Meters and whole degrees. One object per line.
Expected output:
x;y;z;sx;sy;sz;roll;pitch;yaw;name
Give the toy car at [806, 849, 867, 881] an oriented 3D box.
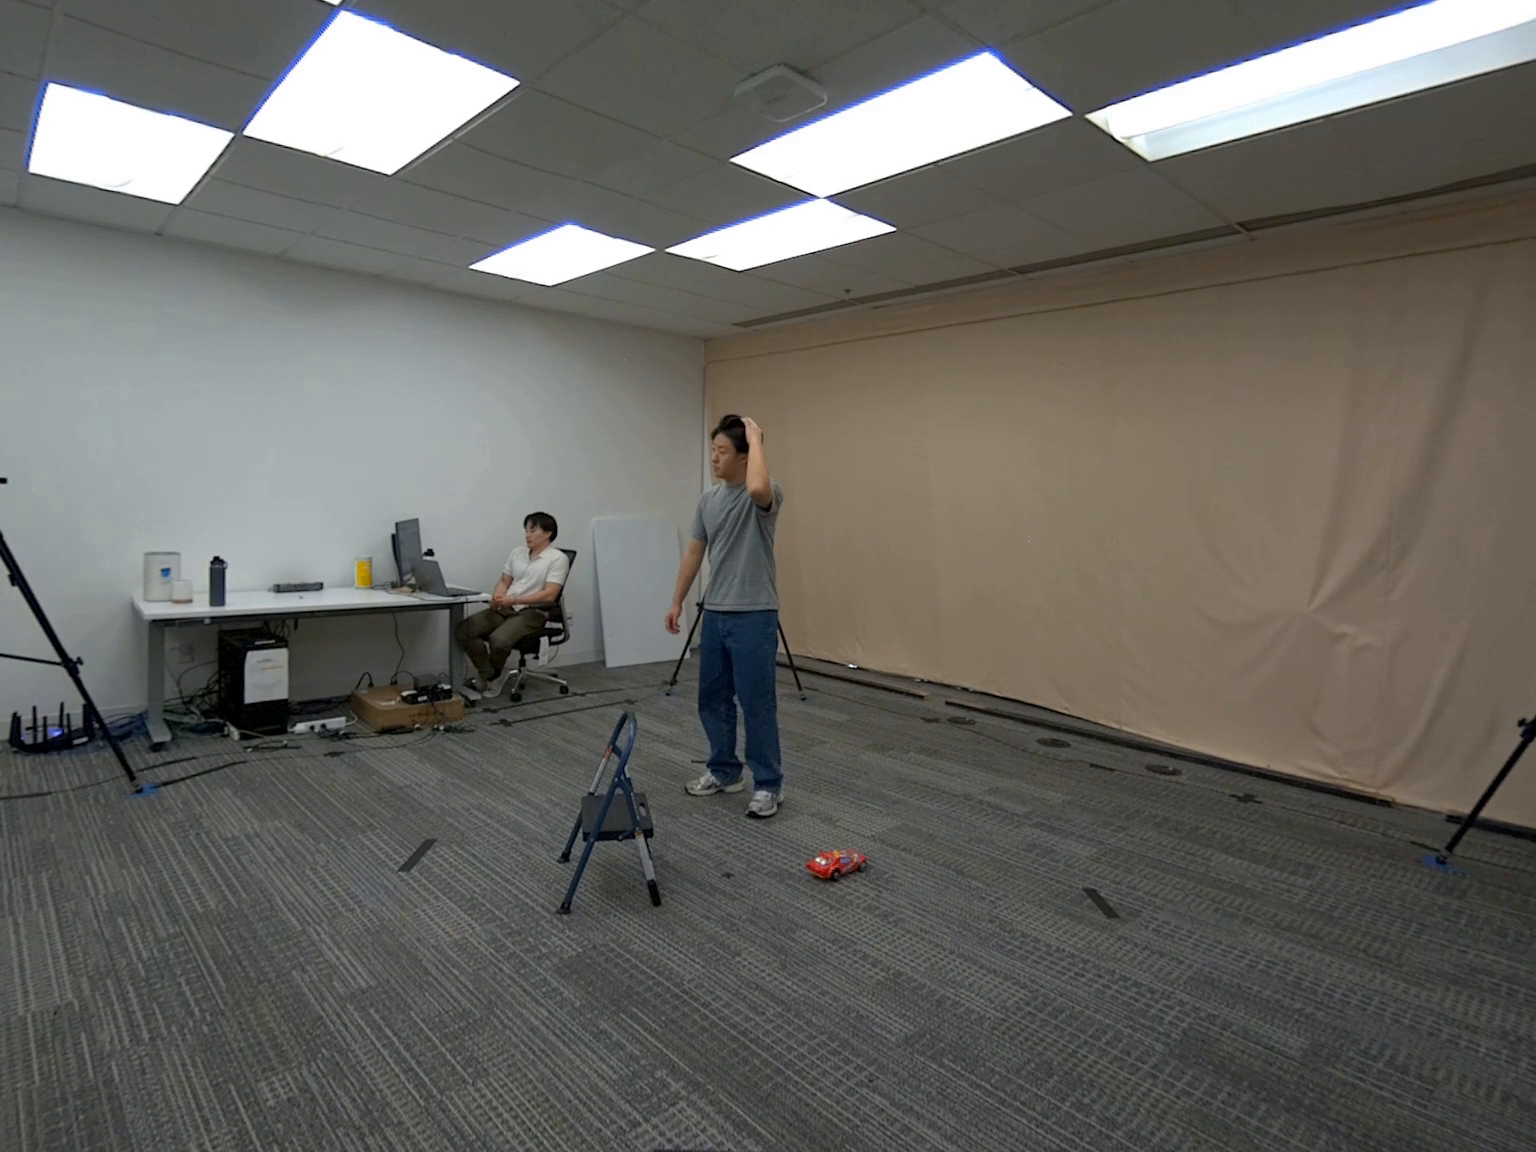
0.247;1.080;3.143;0.248;0.083;0.133;12;-3;-38;toy car
